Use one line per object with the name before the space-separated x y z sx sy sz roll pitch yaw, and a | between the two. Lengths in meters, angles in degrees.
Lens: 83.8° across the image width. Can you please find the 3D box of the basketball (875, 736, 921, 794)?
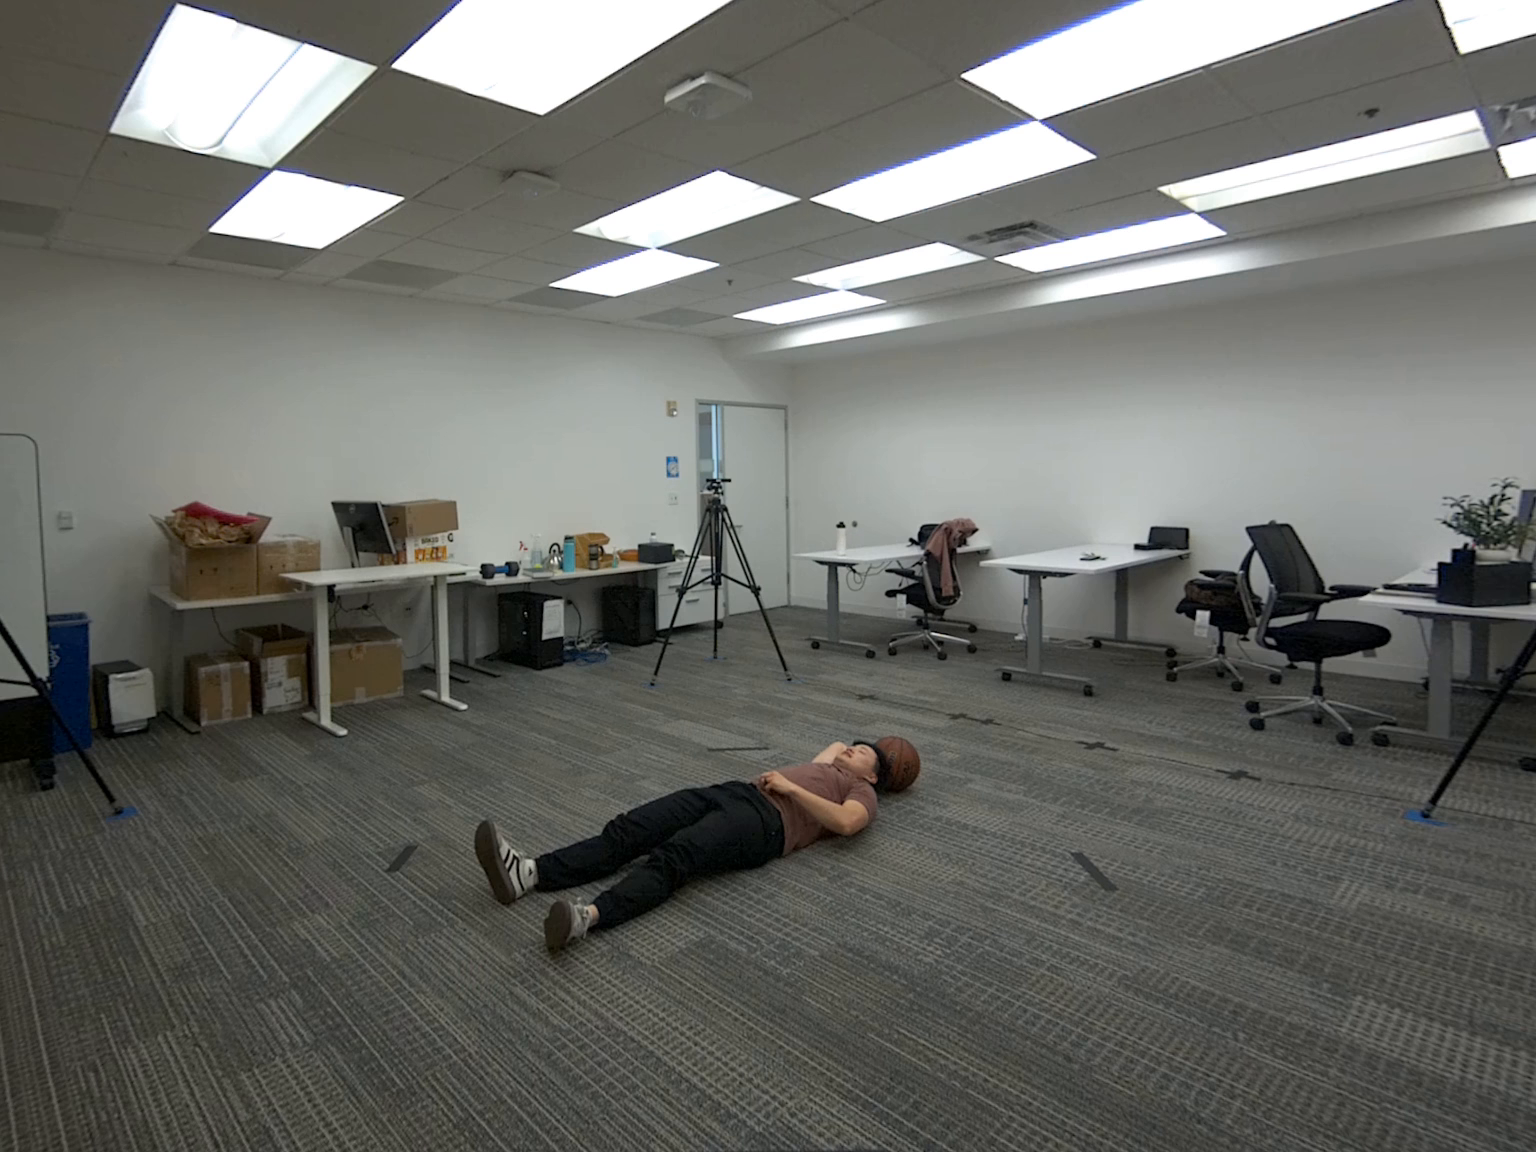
basketball | 0.558 0.833 3.816 0.236 0.235 0.237 -2 5 -2
